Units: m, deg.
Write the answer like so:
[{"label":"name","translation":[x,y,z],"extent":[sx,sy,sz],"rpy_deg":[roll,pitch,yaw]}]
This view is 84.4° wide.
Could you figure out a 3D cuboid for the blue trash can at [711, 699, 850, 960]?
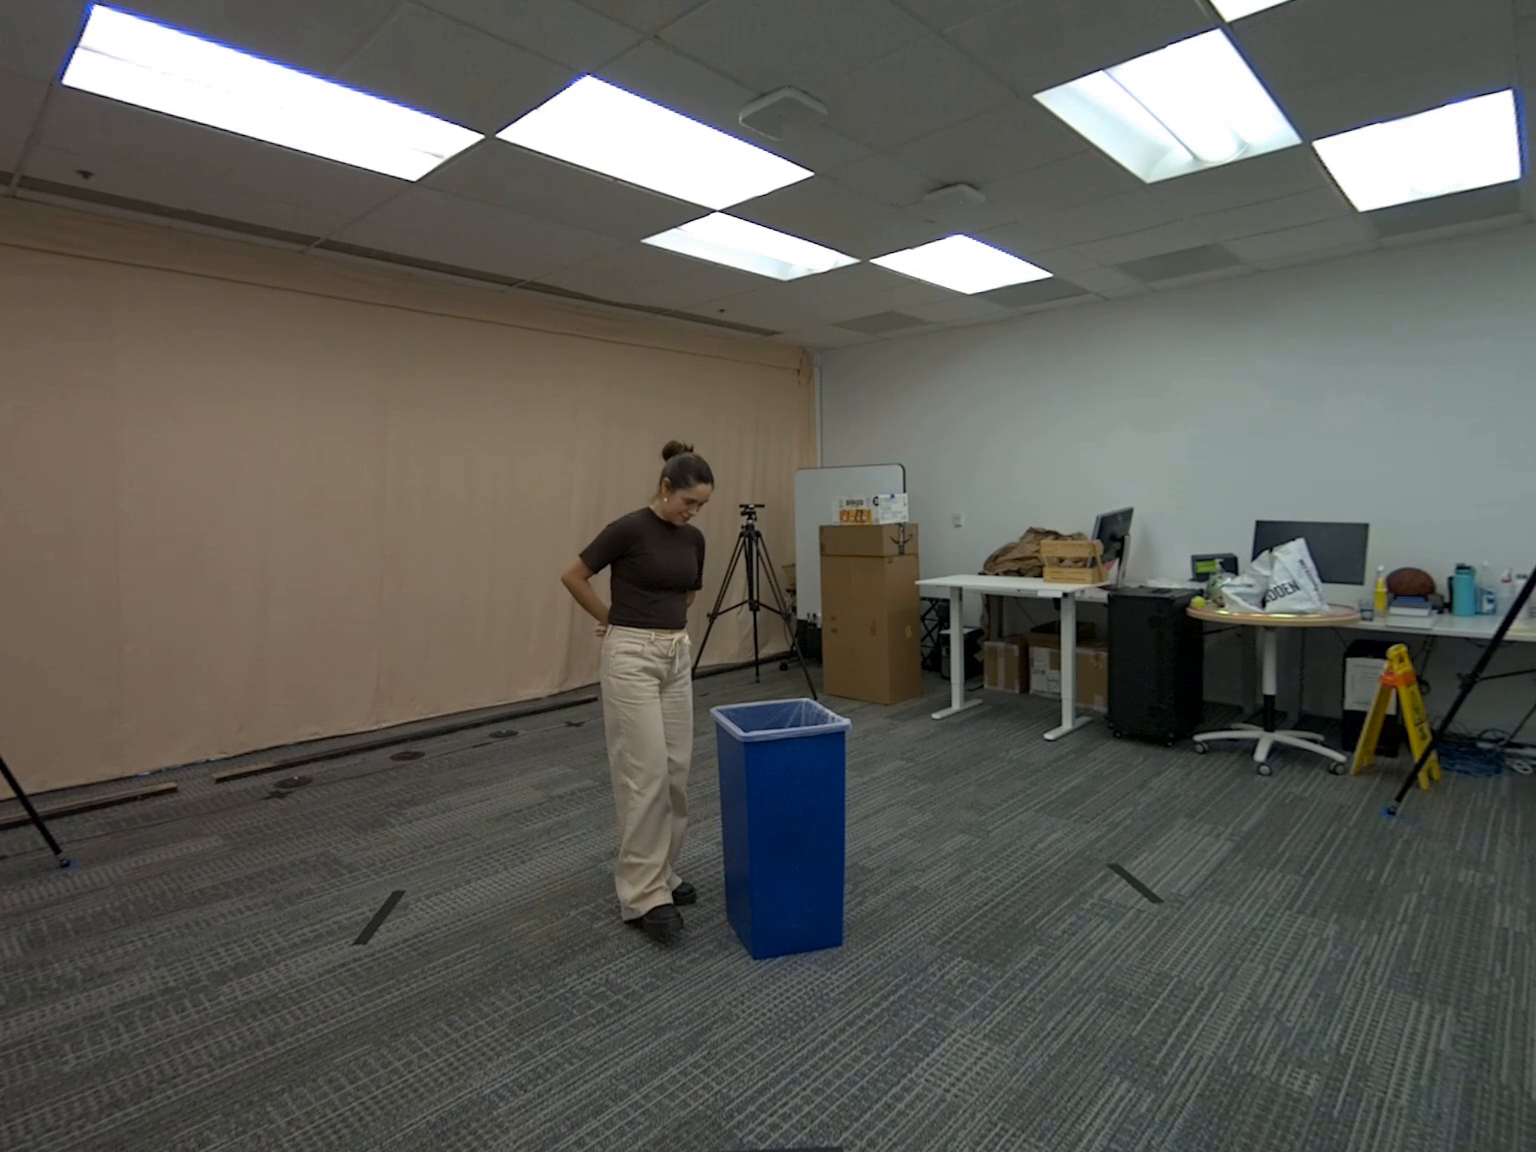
[{"label":"blue trash can","translation":[0.041,0.802,2.735],"extent":[0.371,0.712,0.382],"rpy_deg":[-2,4,-20]}]
